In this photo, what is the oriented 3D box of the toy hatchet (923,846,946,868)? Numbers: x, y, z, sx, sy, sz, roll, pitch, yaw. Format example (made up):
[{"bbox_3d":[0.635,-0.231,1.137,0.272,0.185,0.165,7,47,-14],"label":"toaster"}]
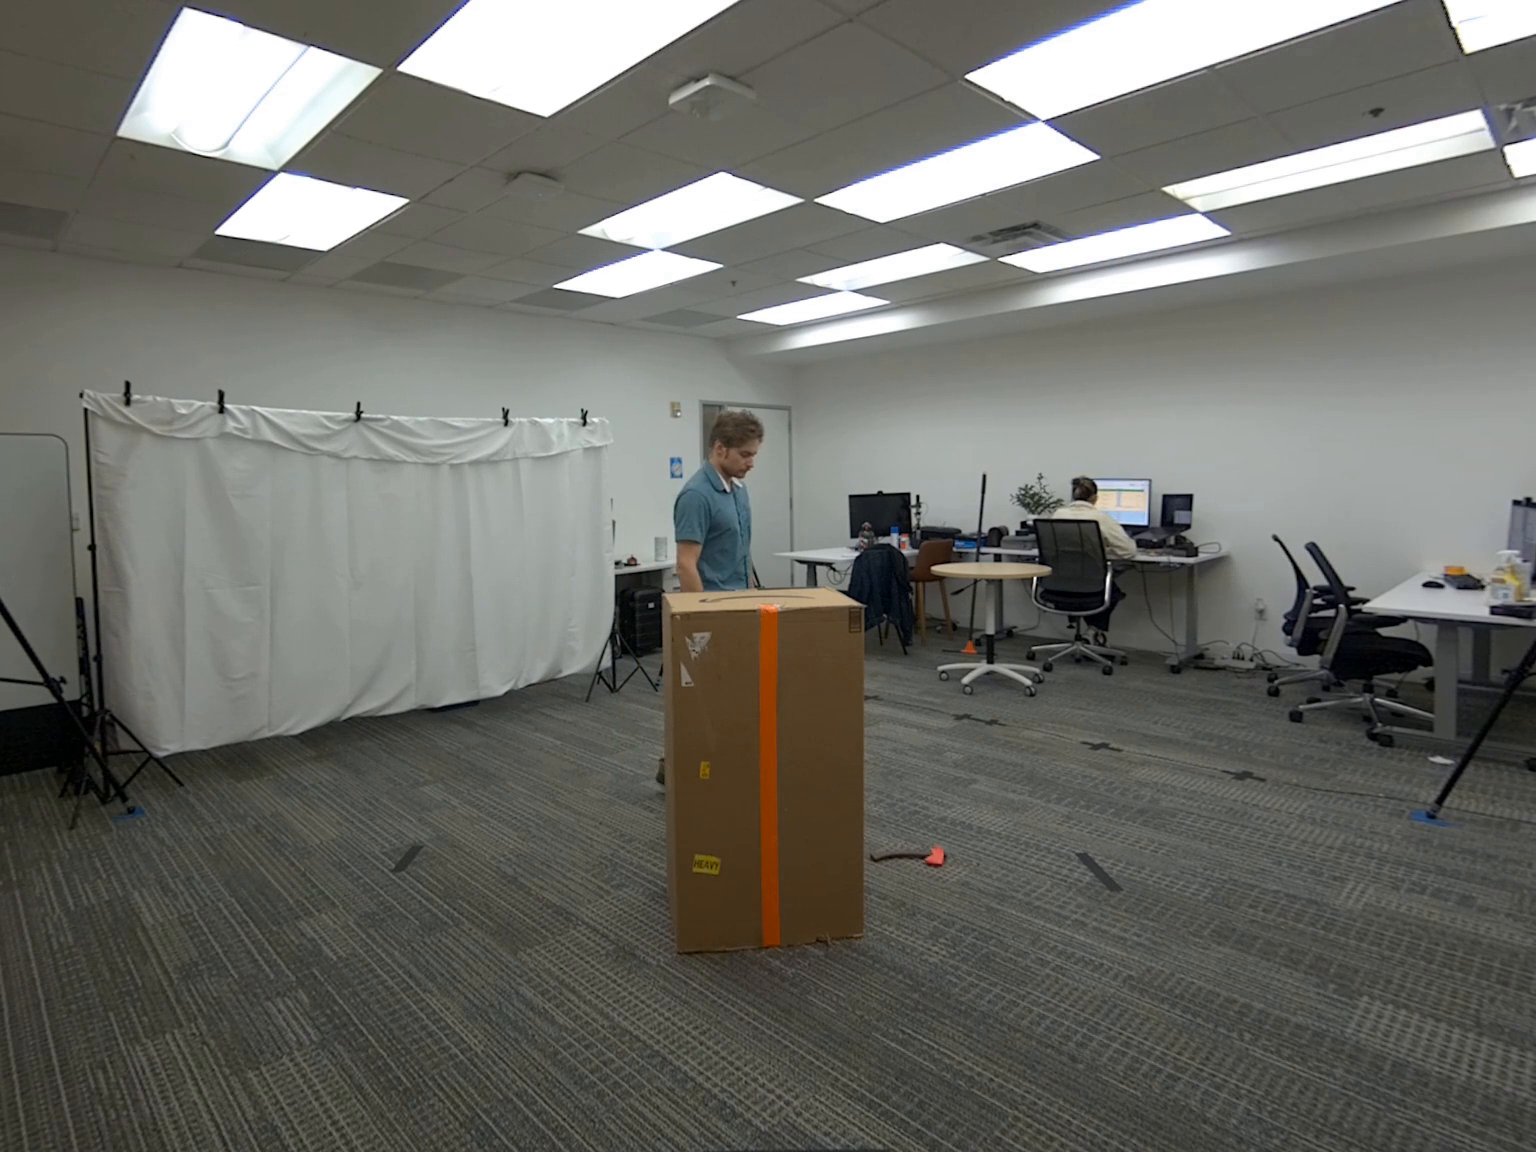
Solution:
[{"bbox_3d":[0.518,1.025,3.097,0.268,0.029,0.133,-5,10,-10],"label":"toy hatchet"}]
